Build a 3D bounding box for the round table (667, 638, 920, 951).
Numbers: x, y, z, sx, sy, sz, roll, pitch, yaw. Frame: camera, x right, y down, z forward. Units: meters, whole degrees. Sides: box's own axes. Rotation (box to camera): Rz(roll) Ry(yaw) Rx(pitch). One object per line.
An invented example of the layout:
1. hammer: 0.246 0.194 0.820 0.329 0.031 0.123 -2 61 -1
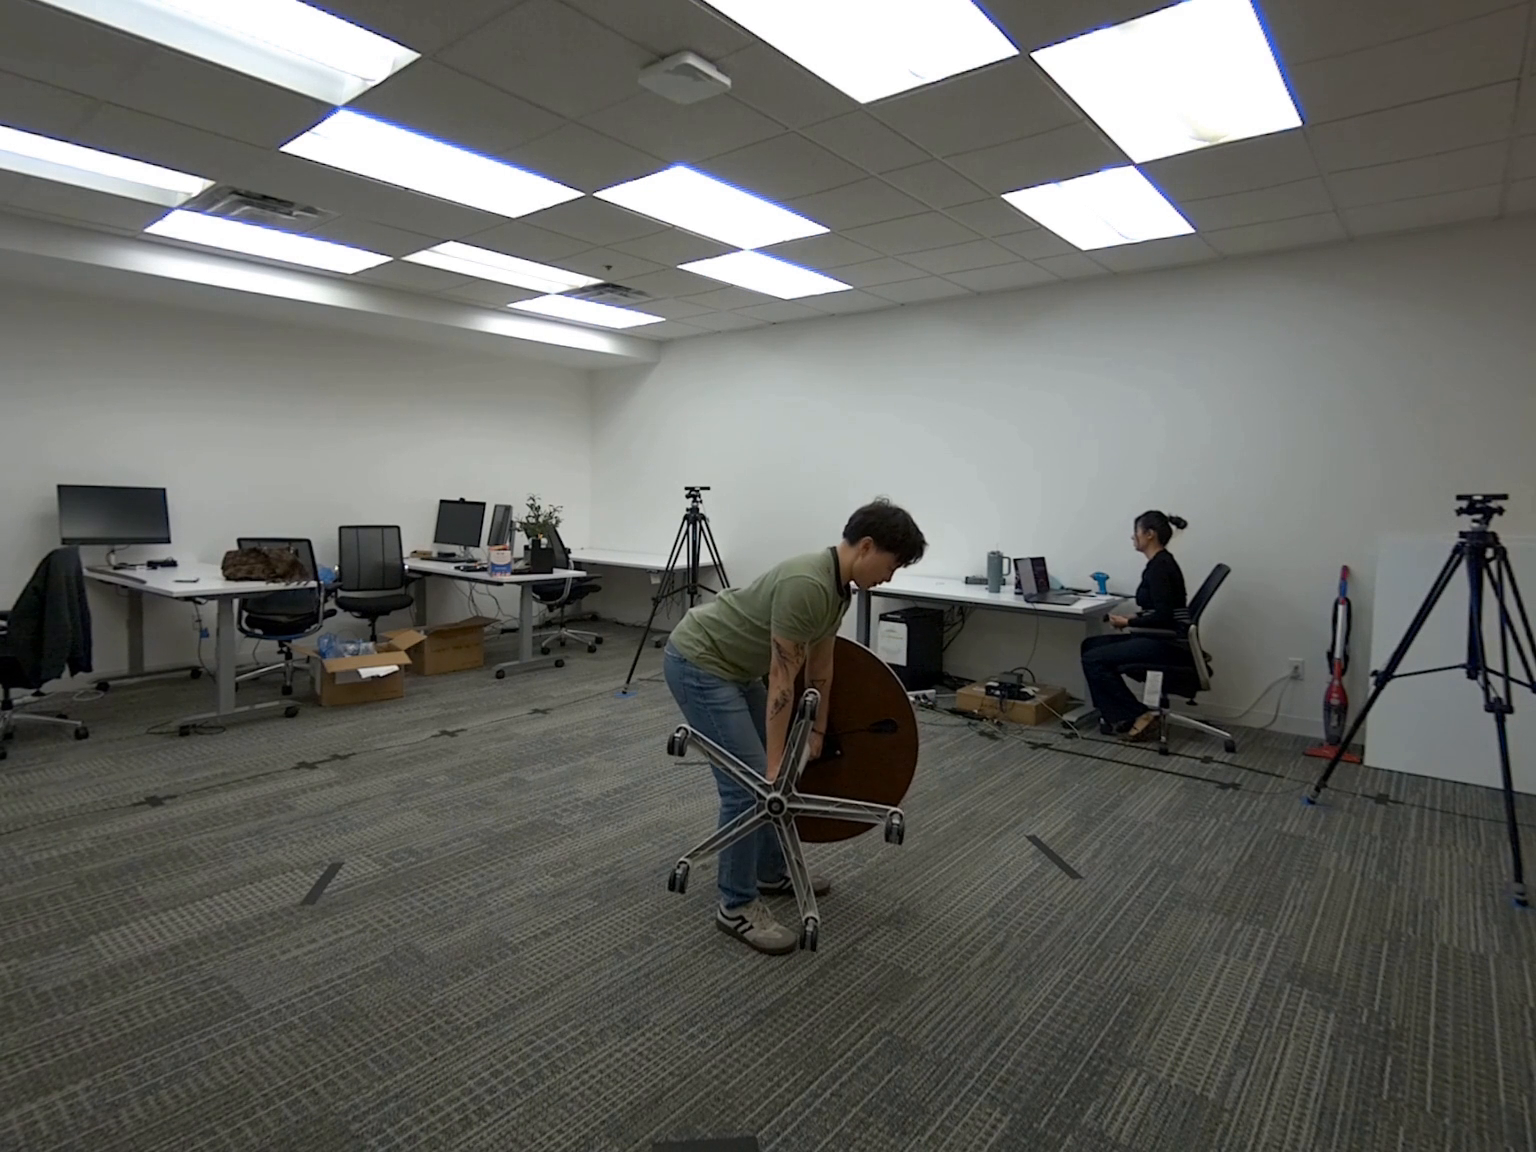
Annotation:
1. round table: 0.075 0.617 2.667 0.775 0.761 0.786 2 5 12
